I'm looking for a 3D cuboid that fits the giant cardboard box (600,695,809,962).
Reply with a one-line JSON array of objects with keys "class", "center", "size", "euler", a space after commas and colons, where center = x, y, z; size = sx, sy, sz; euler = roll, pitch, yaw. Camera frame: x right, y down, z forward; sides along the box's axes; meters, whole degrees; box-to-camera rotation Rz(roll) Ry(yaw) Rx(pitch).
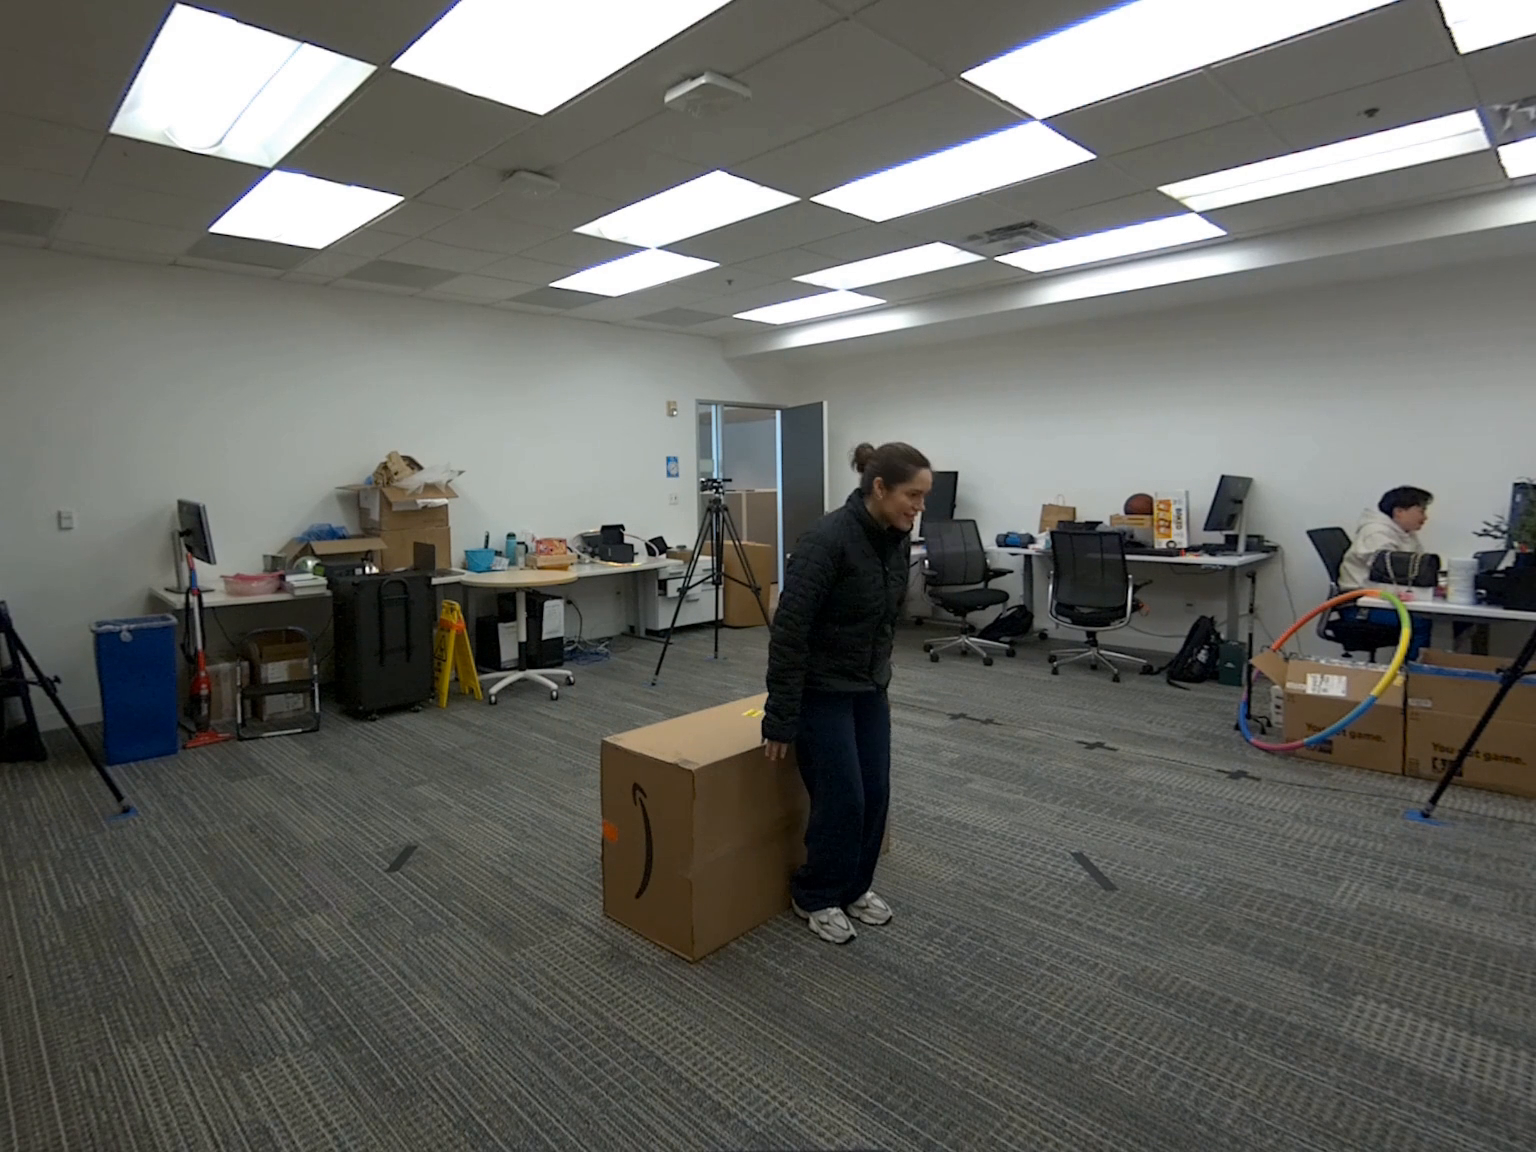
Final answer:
[{"class": "giant cardboard box", "center": [-0.044, 0.775, 2.970], "size": [0.439, 0.575, 0.999], "euler": [4, 7, 42]}]
